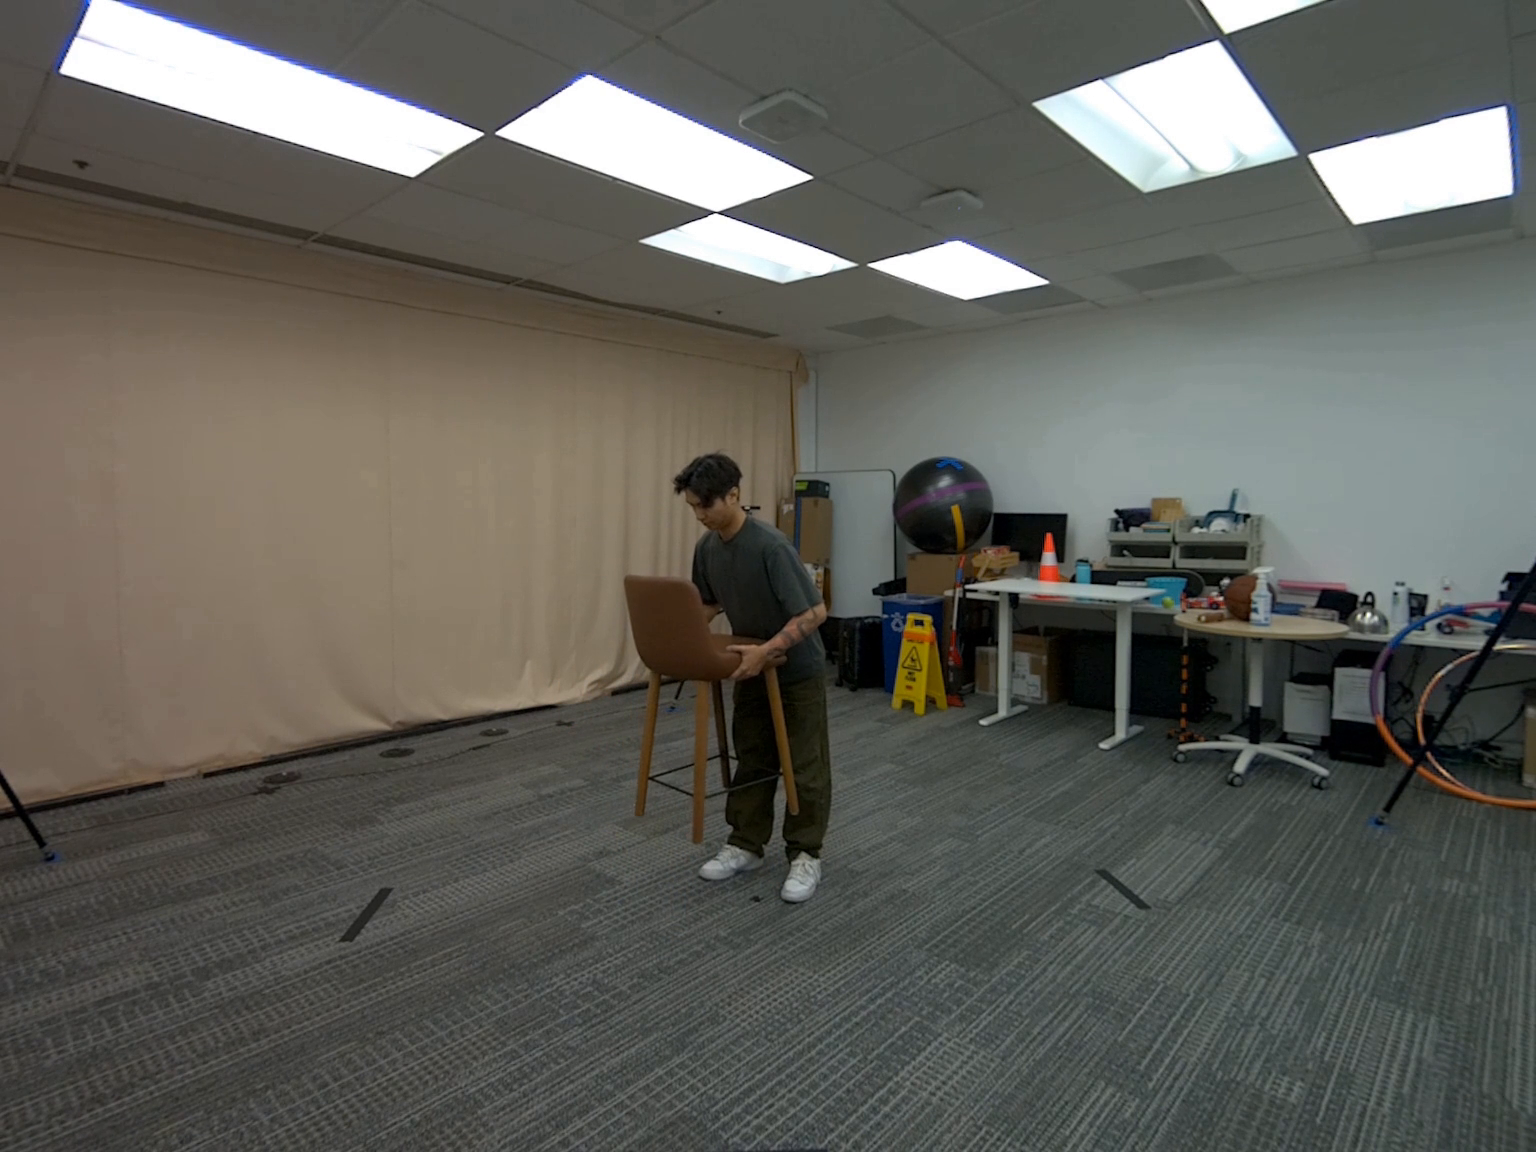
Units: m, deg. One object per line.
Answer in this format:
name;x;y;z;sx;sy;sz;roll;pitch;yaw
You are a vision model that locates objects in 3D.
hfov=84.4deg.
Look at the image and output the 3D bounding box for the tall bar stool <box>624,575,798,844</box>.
tall bar stool;-0.214;0.429;2.990;0.454;0.887;0.471;-7;5;-40
